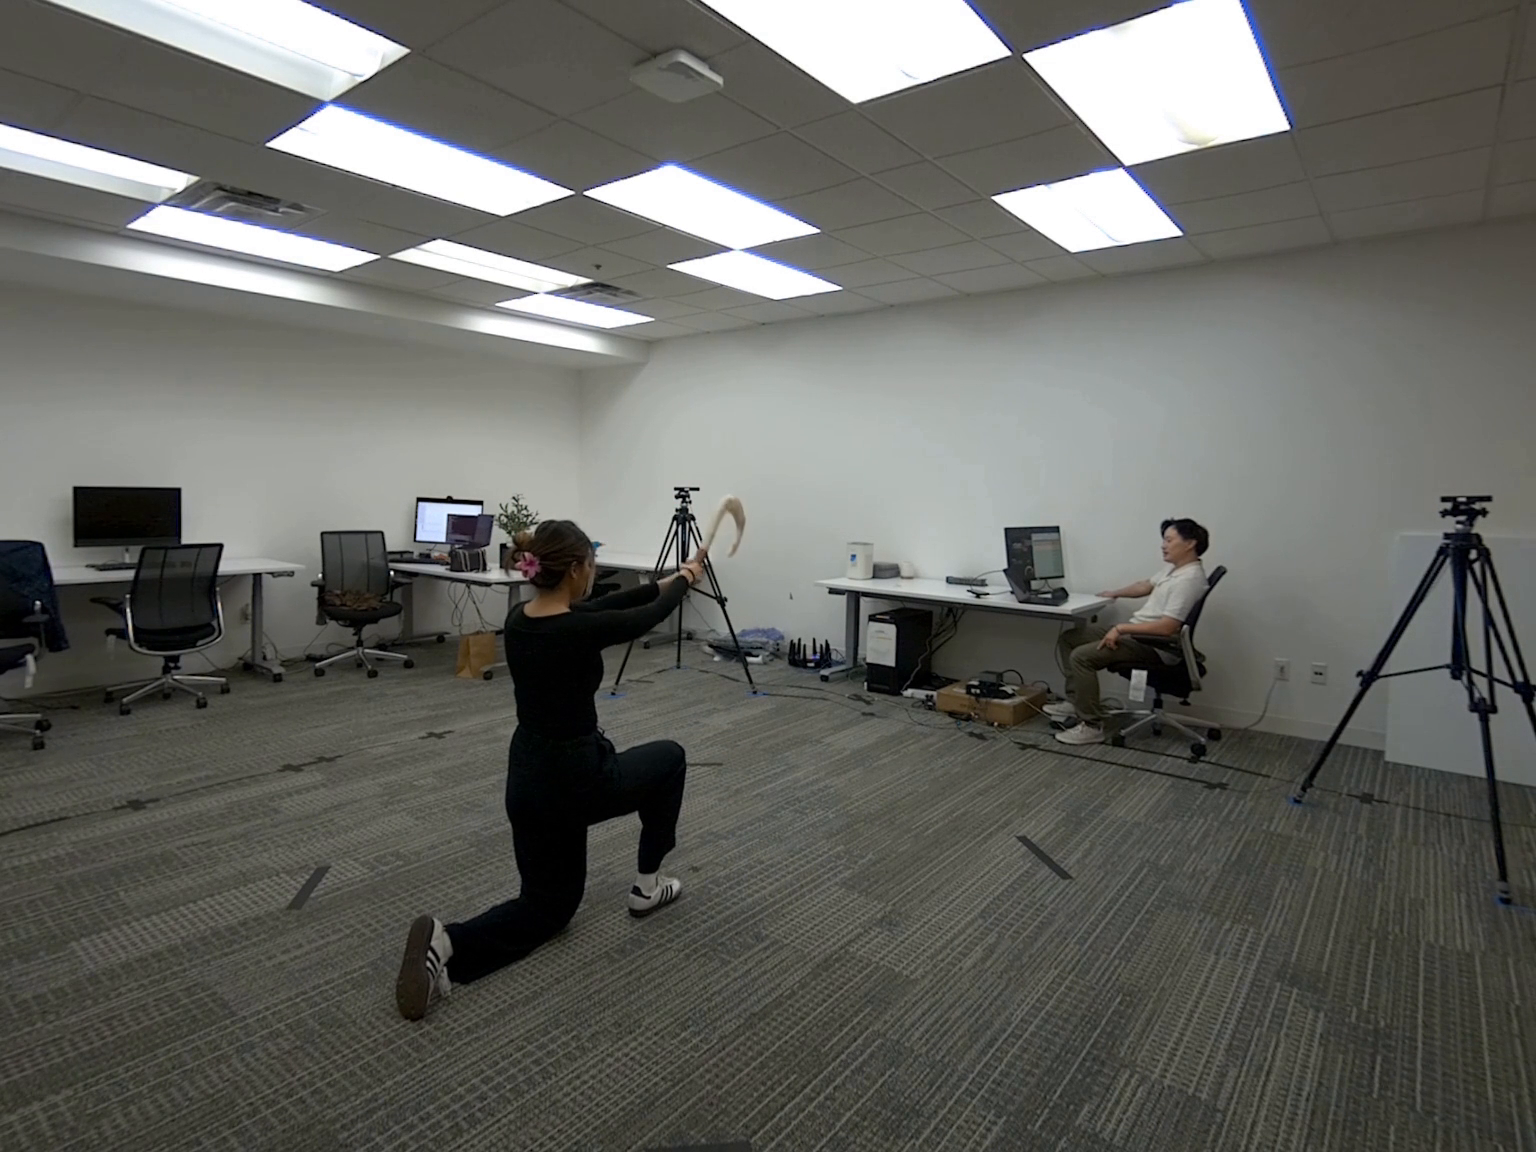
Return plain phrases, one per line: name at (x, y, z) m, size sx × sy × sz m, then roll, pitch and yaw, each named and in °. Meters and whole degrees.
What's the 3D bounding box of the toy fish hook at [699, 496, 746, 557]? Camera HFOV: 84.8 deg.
toy fish hook at (-0.227, -0.089, 3.213) m, size 0.050 × 0.216 × 0.511 m, roll 1°, pitch 45°, yaw 33°
